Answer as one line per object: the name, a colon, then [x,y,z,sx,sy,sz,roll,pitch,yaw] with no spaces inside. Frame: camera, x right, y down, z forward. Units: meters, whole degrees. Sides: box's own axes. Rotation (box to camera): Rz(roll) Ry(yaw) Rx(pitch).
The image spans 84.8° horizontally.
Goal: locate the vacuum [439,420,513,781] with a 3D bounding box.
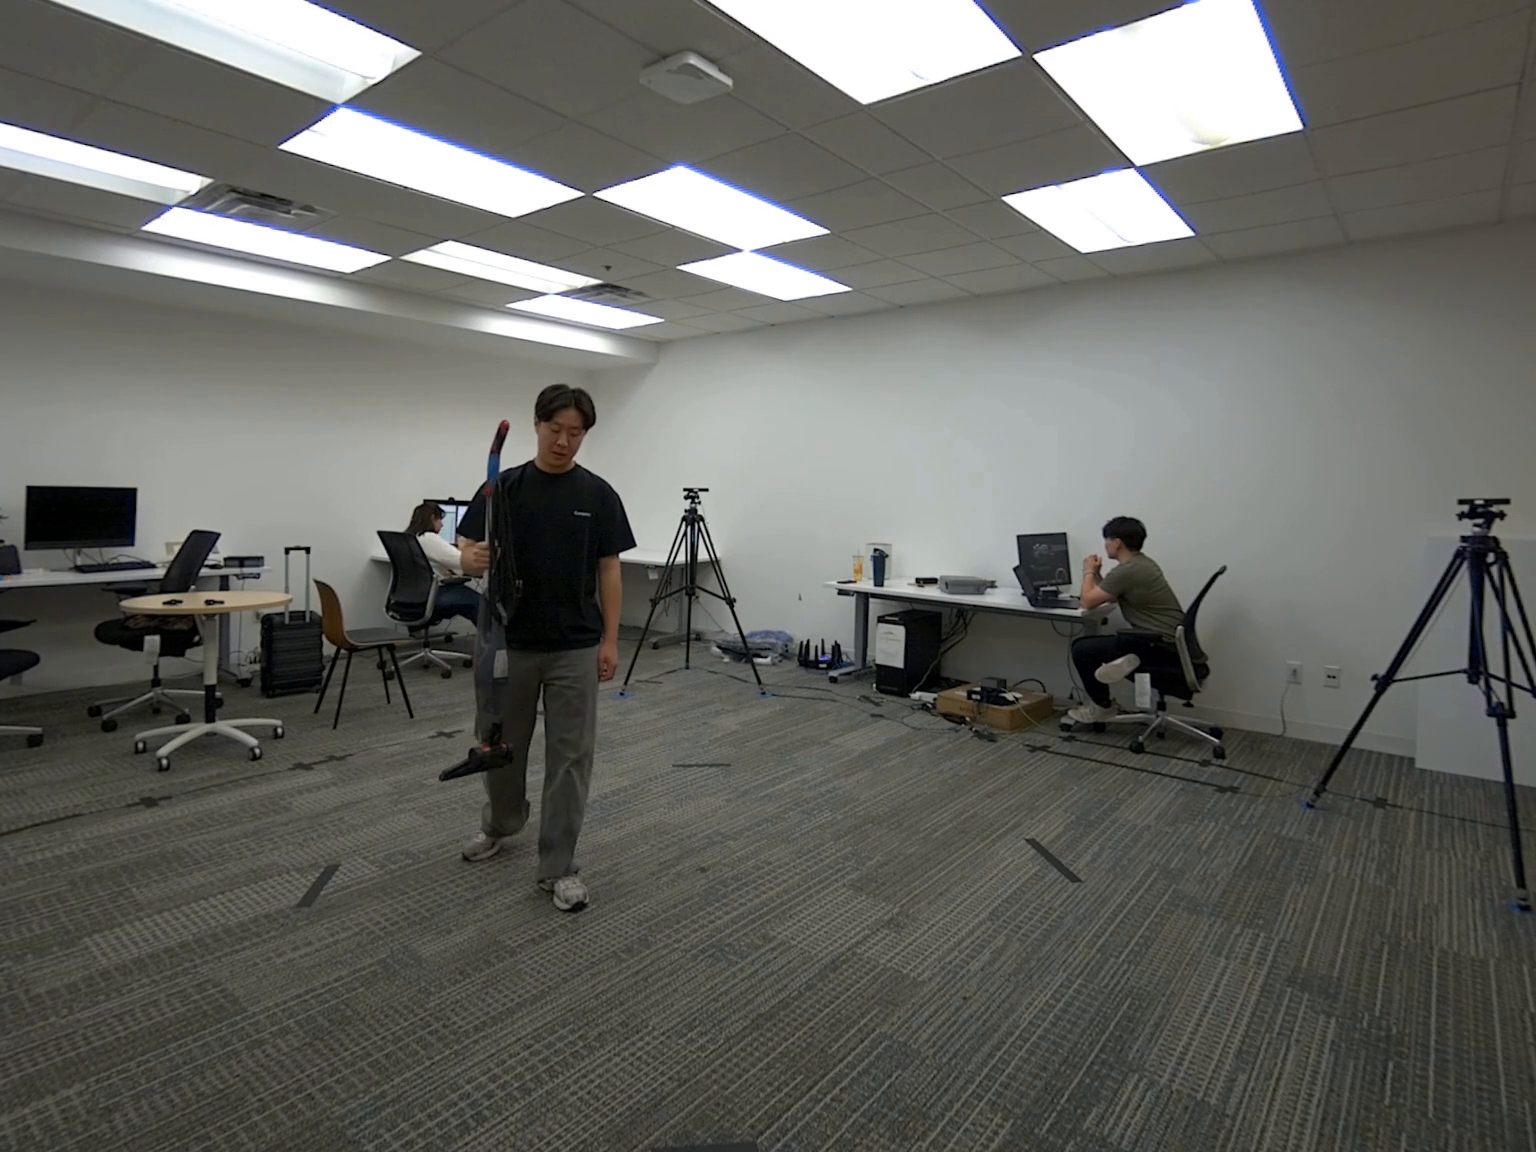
vacuum: [-0.849,0.054,2.619,0.149,1.047,0.244,8,4,42]
